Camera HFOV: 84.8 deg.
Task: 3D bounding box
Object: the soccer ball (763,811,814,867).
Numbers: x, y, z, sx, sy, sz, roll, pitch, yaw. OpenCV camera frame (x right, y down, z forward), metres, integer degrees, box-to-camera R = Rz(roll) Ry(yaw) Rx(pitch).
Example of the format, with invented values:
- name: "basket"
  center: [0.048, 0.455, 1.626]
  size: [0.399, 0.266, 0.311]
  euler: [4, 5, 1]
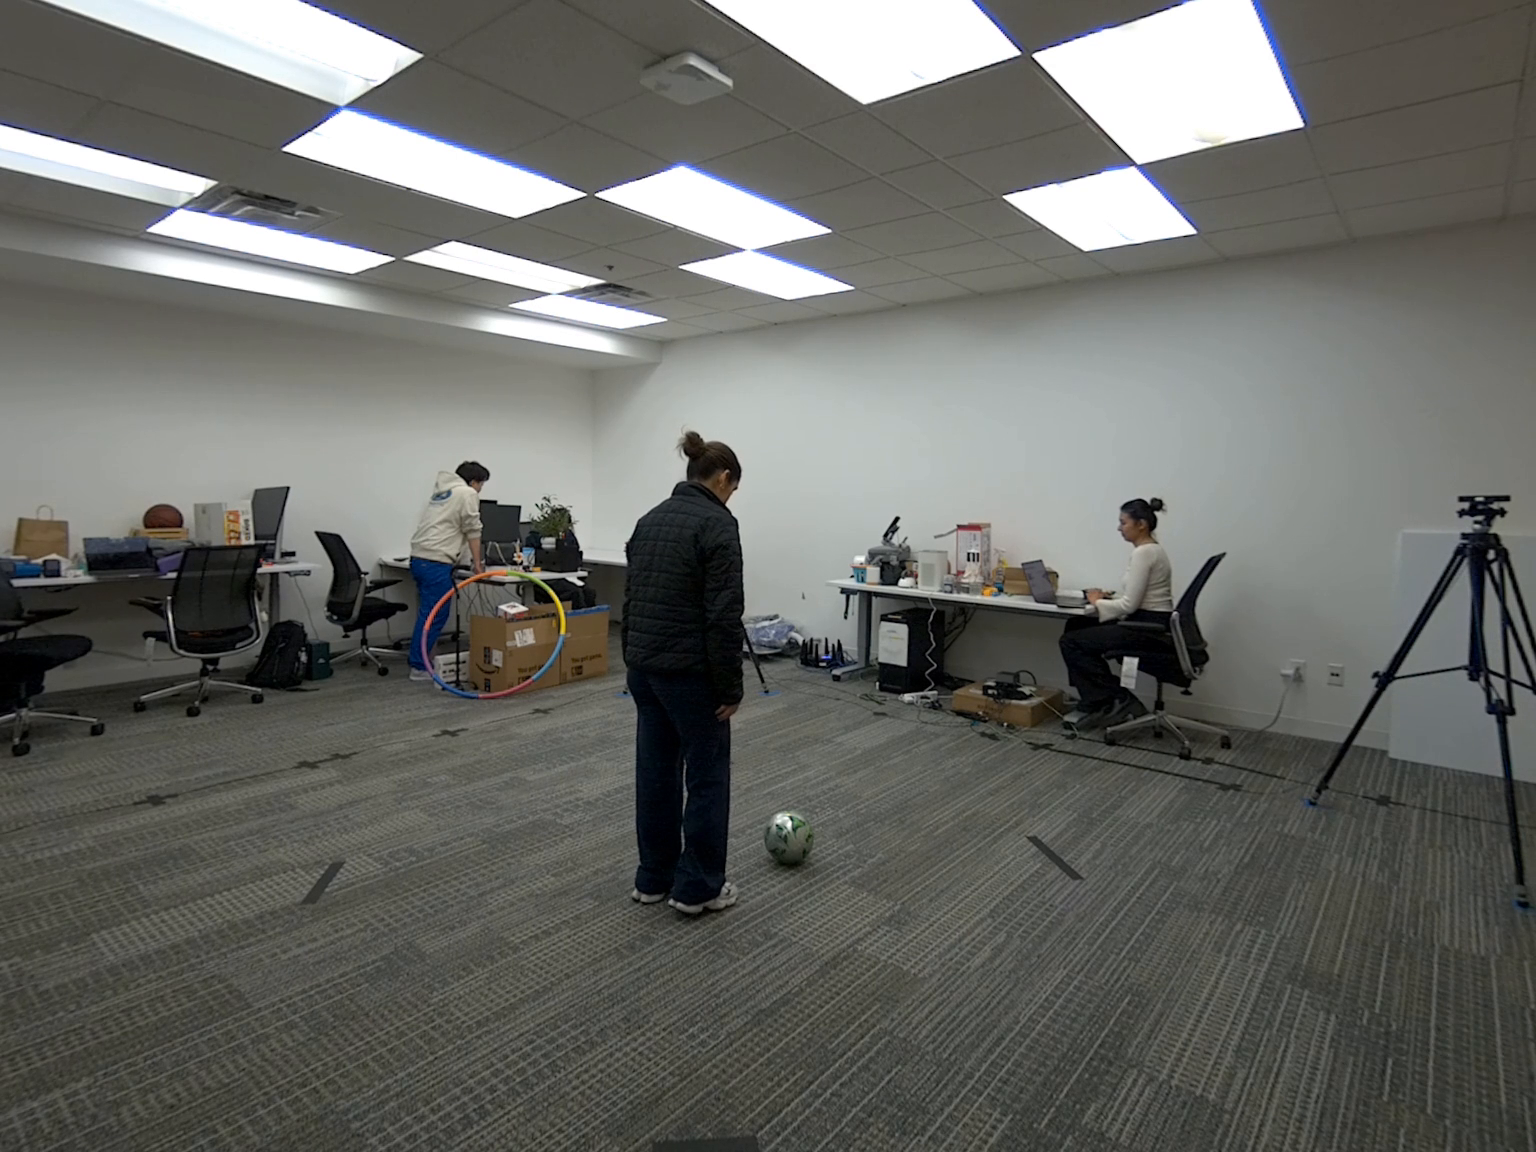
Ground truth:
- name: "soccer ball"
  center: [0.070, 0.970, 3.176]
  size: [0.187, 0.187, 0.188]
  euler: [1, 4, -2]
